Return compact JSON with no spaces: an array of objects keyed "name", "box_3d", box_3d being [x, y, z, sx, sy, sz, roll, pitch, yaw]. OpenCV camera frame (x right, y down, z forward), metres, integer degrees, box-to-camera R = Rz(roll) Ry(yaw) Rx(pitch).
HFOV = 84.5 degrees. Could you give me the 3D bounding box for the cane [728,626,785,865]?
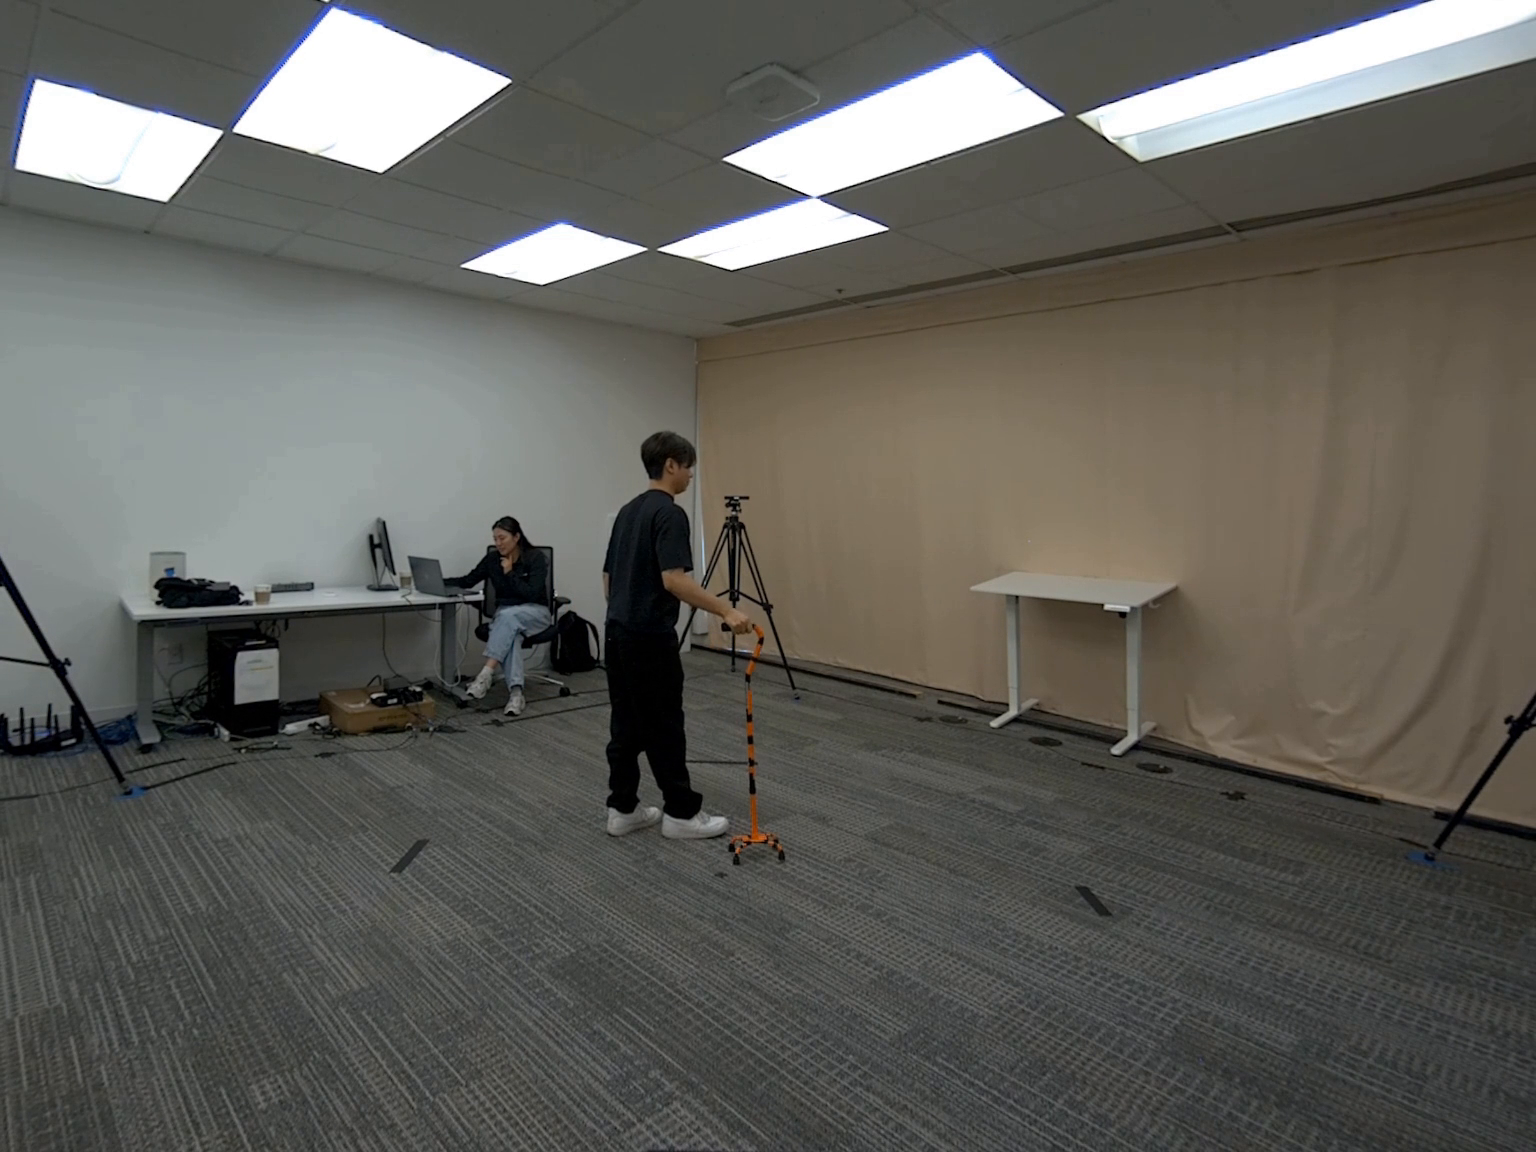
[{"name":"cane","box_3d":[-0.071,0.634,3.256,0.204,0.906,0.153,-3,2,-15]}]
